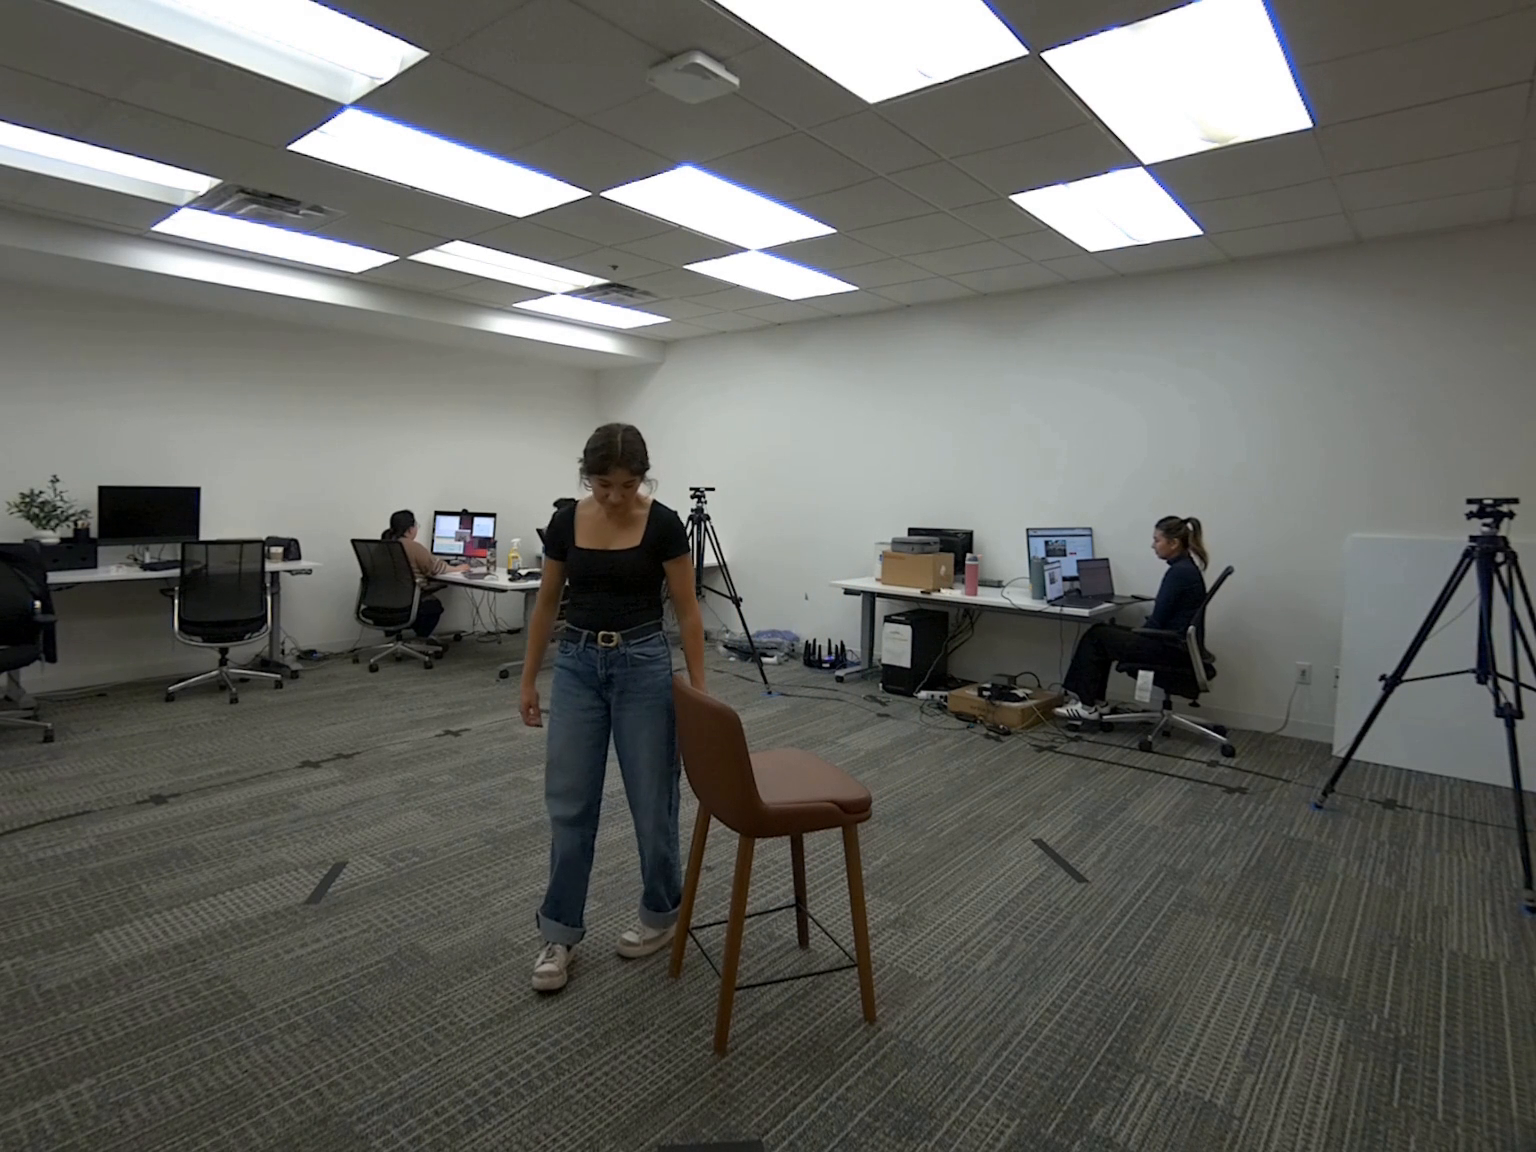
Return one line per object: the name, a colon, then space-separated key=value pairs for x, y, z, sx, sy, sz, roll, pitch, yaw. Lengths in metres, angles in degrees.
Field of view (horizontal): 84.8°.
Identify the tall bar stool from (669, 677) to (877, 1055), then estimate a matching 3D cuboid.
tall bar stool: x=0.003 y=0.719 z=2.304 sx=0.457 sy=0.887 sz=0.468 roll=-2 pitch=4 yaw=-23
